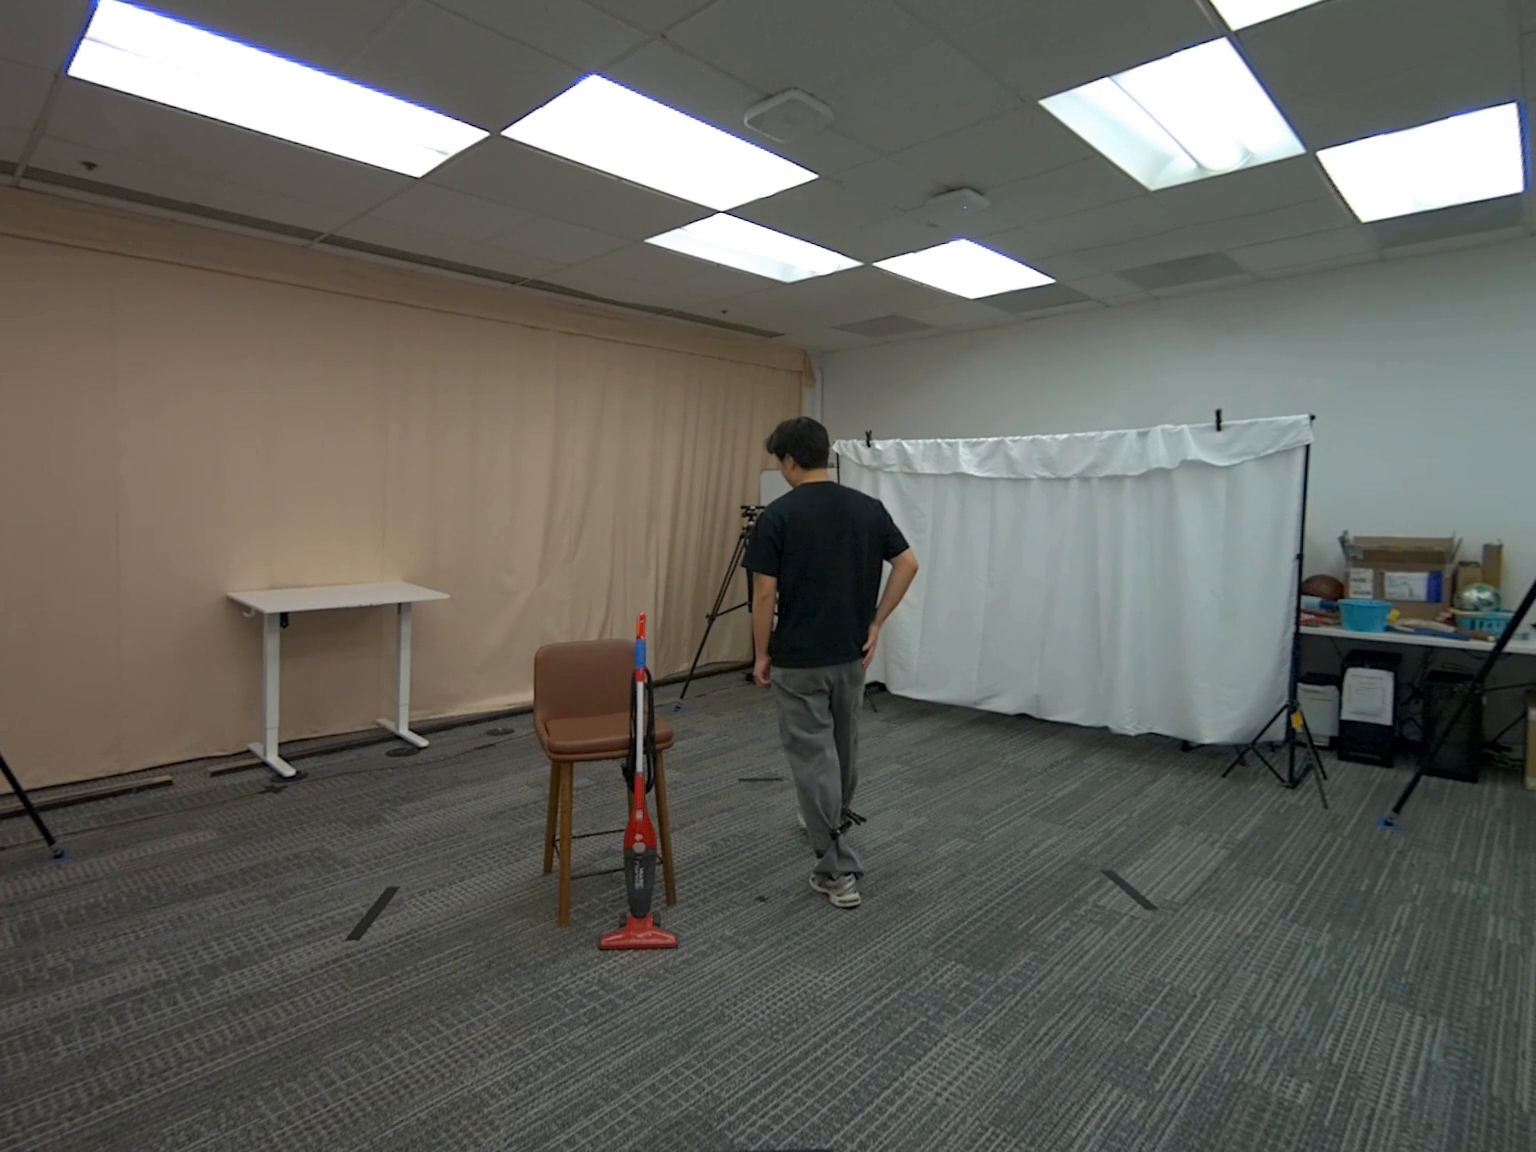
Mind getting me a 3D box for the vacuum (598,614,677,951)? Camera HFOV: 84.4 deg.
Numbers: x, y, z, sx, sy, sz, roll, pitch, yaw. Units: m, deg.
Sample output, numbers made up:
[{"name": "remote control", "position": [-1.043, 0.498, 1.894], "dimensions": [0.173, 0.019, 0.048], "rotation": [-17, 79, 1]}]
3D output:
[{"name": "vacuum", "position": [-0.421, 0.649, 2.838], "dimensions": [0.253, 1.058, 0.142], "rotation": [-1, -12, 1]}]
